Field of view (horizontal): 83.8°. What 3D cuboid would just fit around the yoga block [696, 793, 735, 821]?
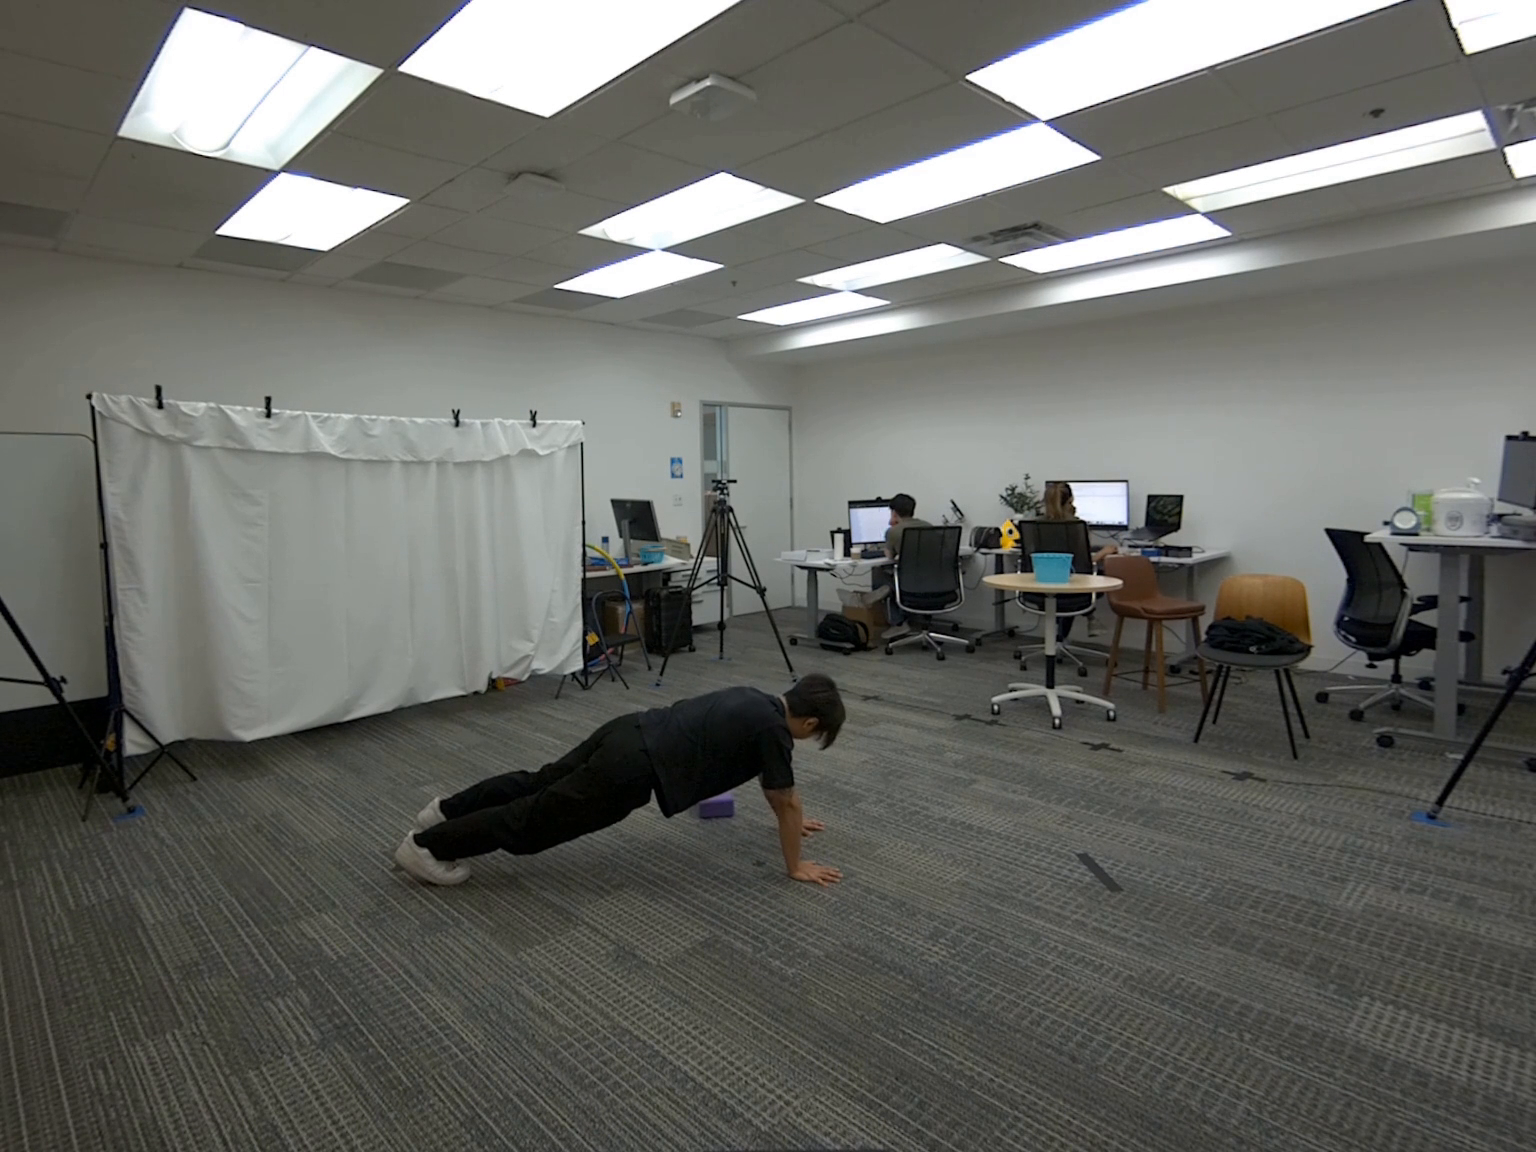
[{"bbox_3d":[-0.228,0.951,3.648,0.148,0.076,0.232,-2,7,-10],"label":"yoga block"}]
